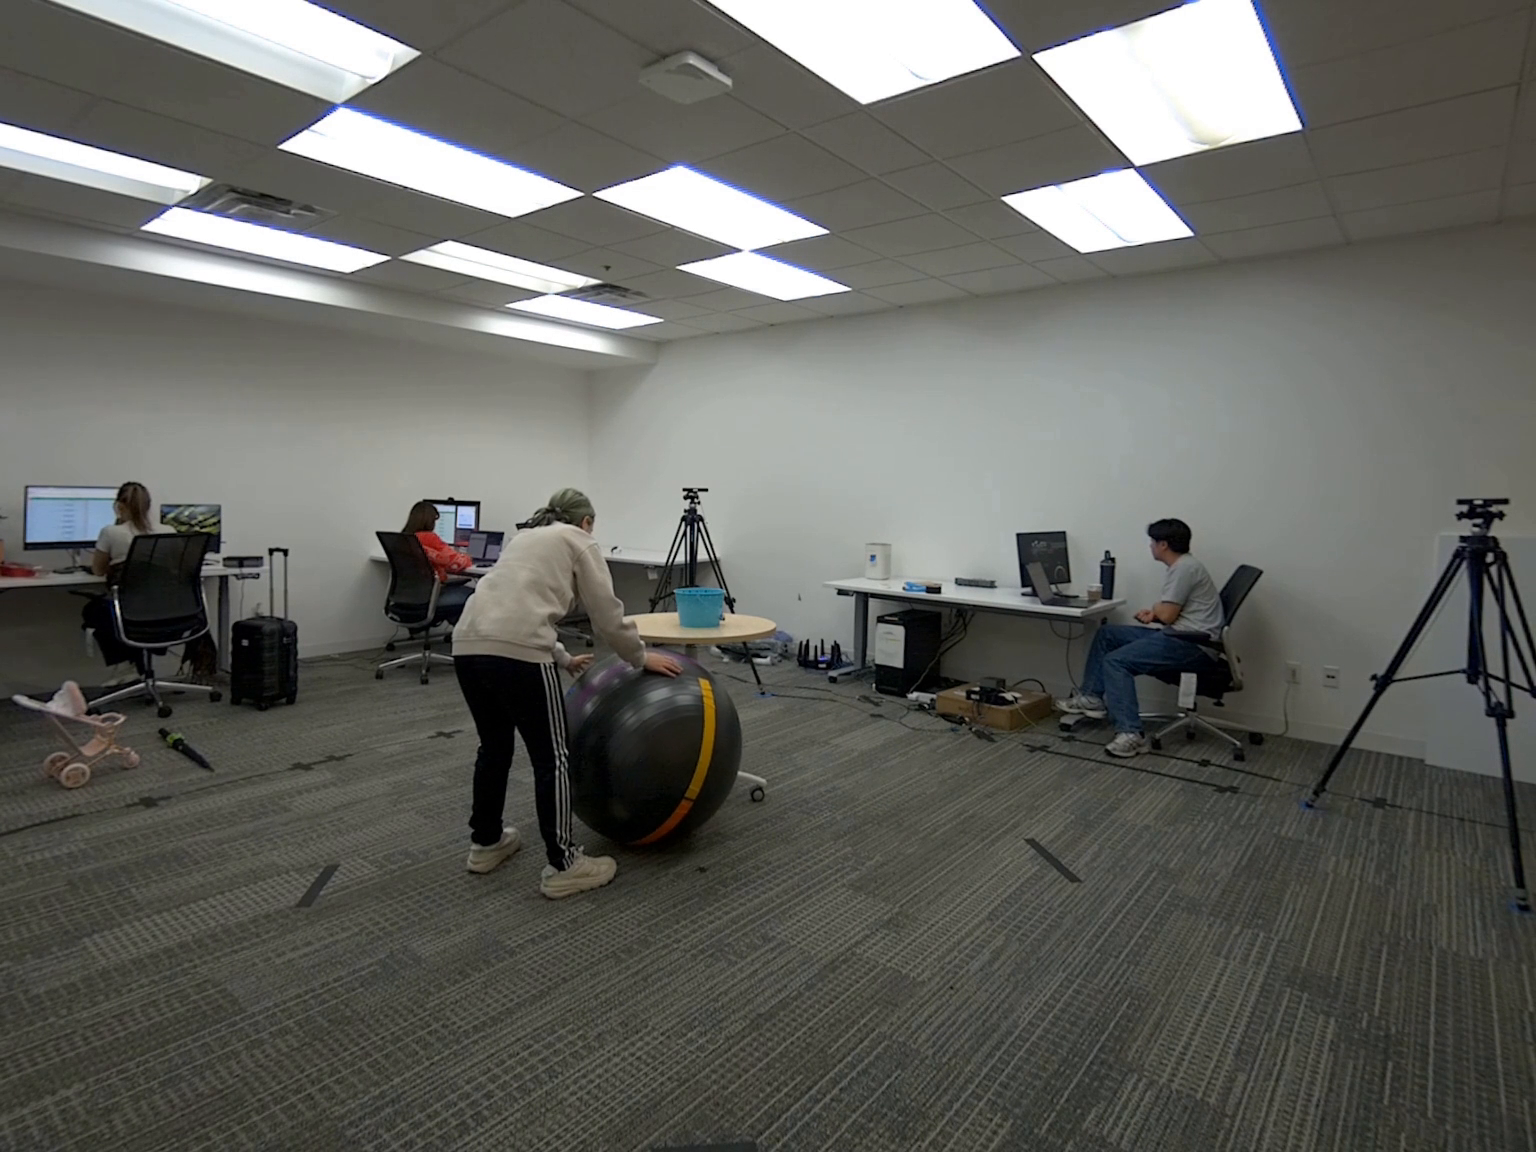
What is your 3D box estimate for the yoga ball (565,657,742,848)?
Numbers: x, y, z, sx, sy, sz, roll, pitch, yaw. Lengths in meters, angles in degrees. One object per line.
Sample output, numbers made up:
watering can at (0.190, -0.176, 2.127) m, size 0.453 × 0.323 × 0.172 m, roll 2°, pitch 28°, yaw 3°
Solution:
yoga ball at (-0.493, 0.671, 3.379) m, size 0.757 × 0.756 × 0.761 m, roll 1°, pitch 4°, yaw -2°
